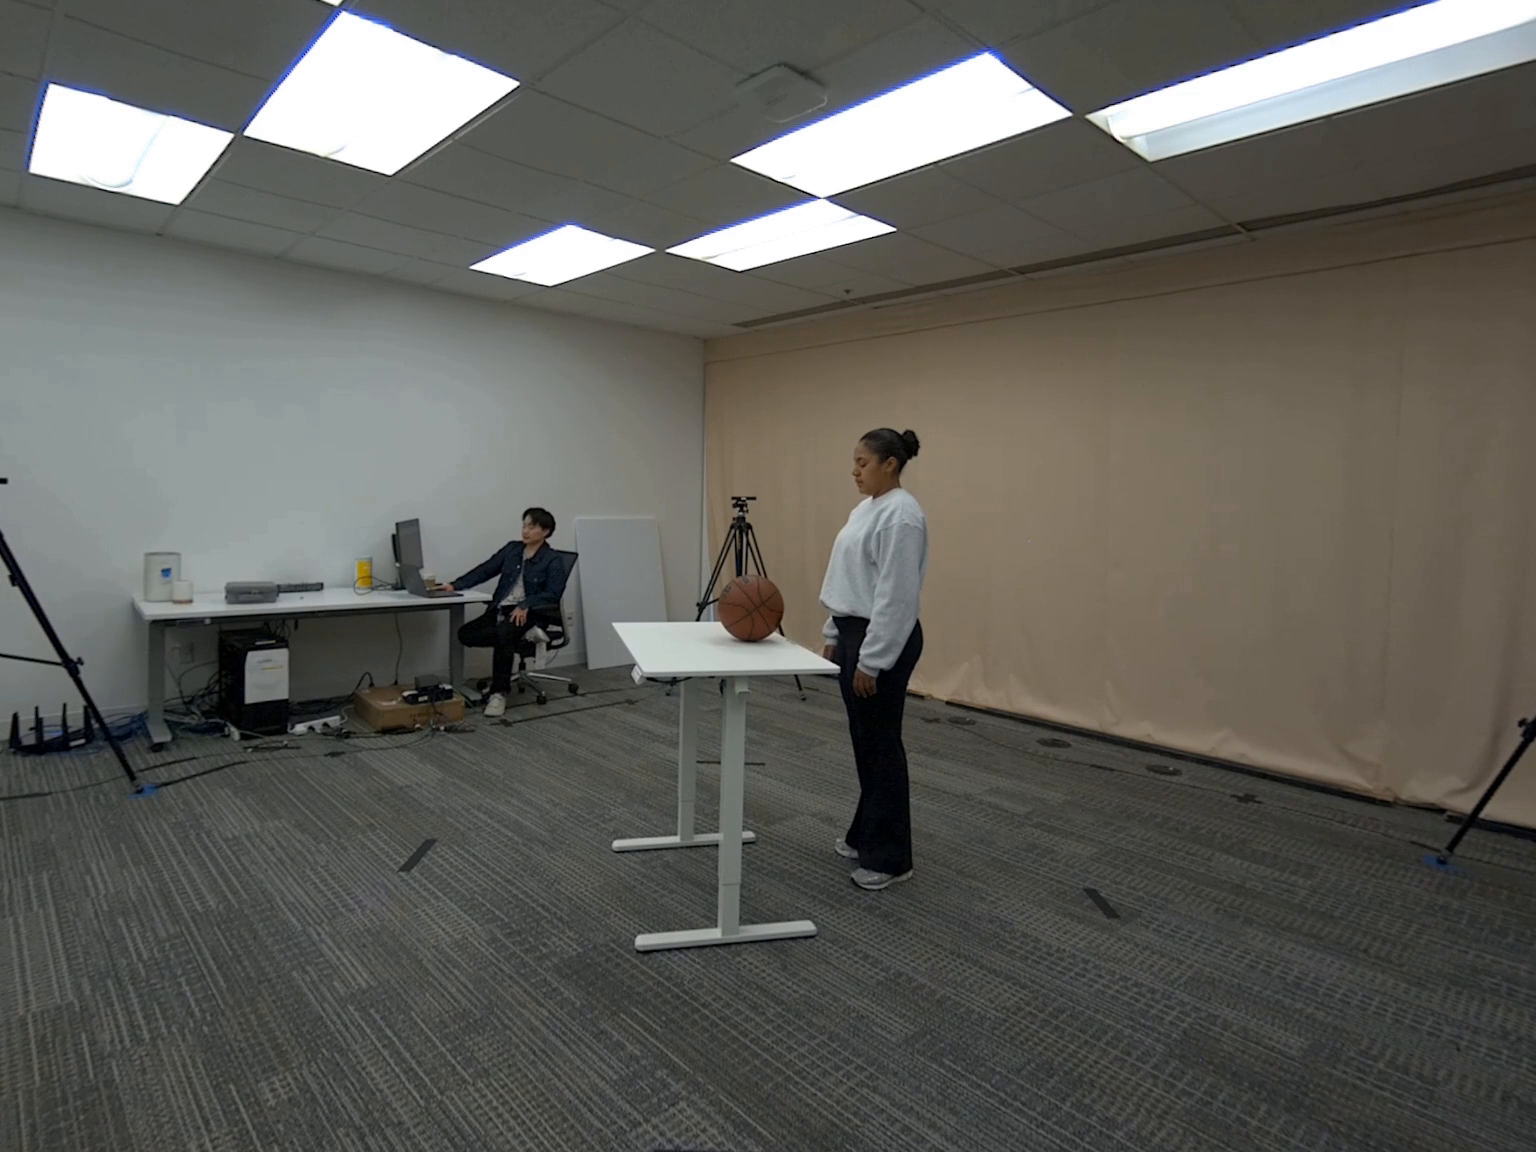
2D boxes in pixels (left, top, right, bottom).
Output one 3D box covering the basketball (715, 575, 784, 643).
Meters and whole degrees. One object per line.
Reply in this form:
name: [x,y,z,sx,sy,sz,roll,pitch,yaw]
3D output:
basketball: [-0.060,0.114,3.024,0.236,0.235,0.237,1,4,-1]
